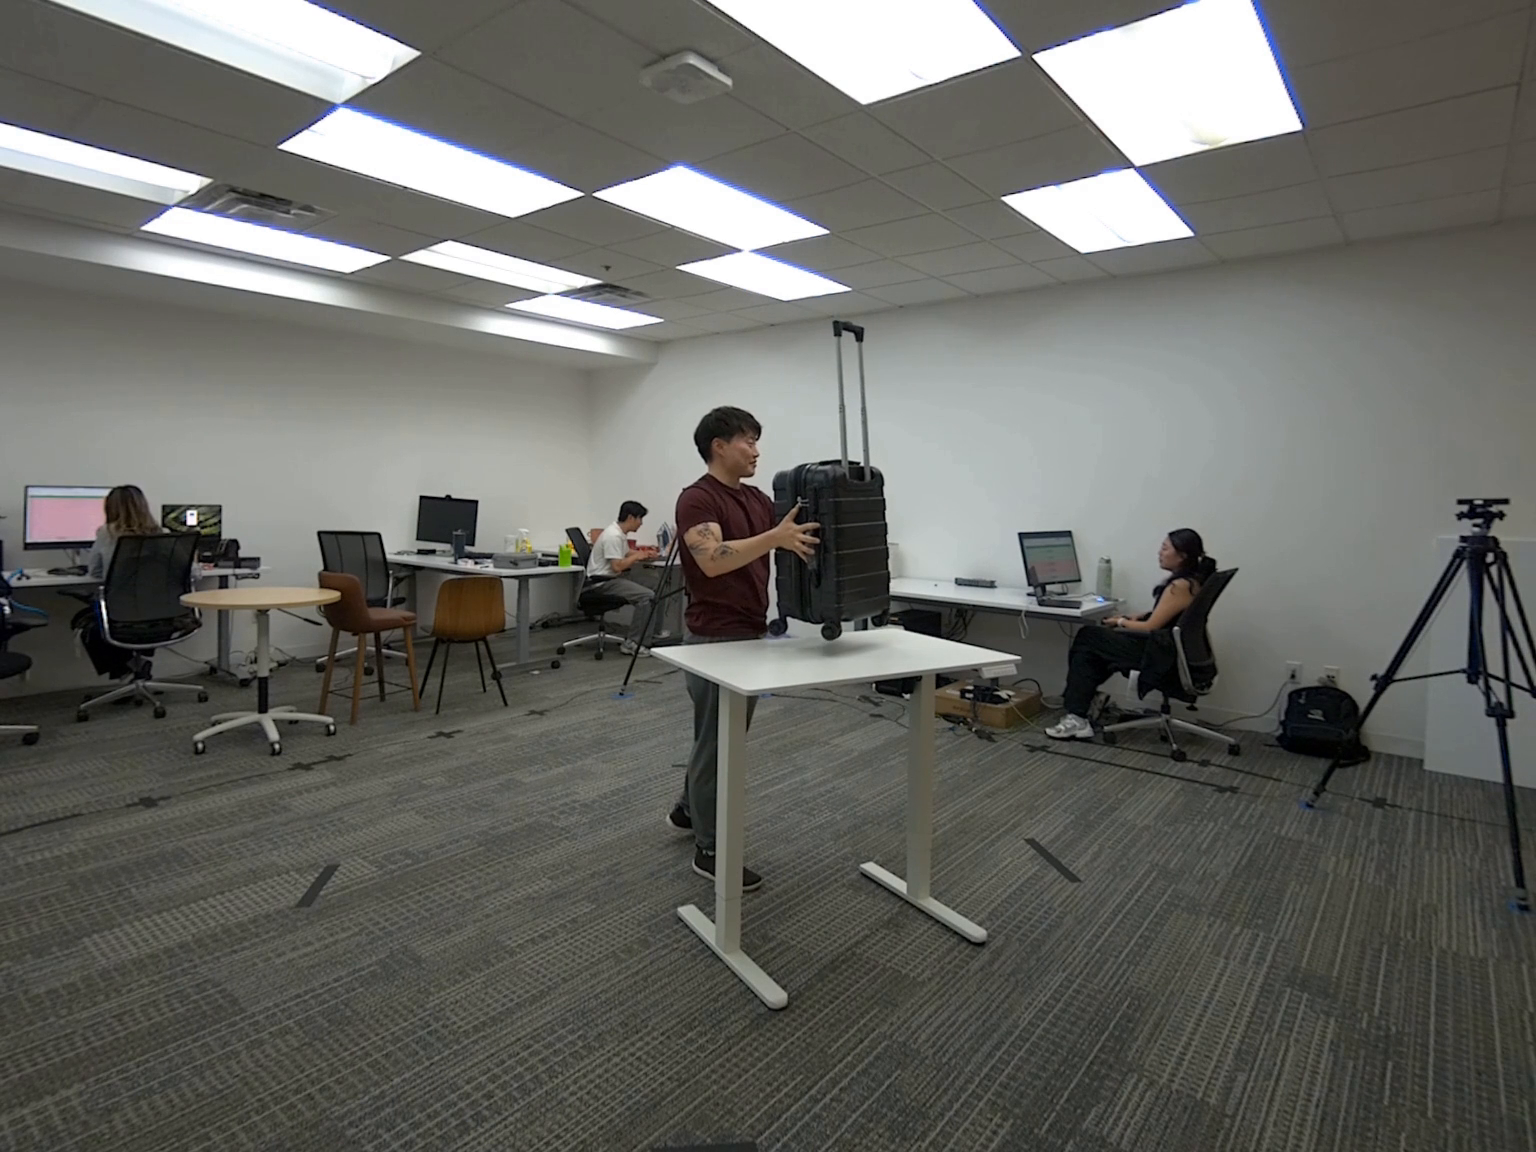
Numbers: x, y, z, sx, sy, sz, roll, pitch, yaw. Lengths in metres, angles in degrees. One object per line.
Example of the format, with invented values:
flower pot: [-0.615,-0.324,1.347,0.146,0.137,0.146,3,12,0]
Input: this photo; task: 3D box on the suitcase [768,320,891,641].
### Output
suitcase: [0.184,-0.305,2.762,0.265,0.979,0.372,-3,0,40]
